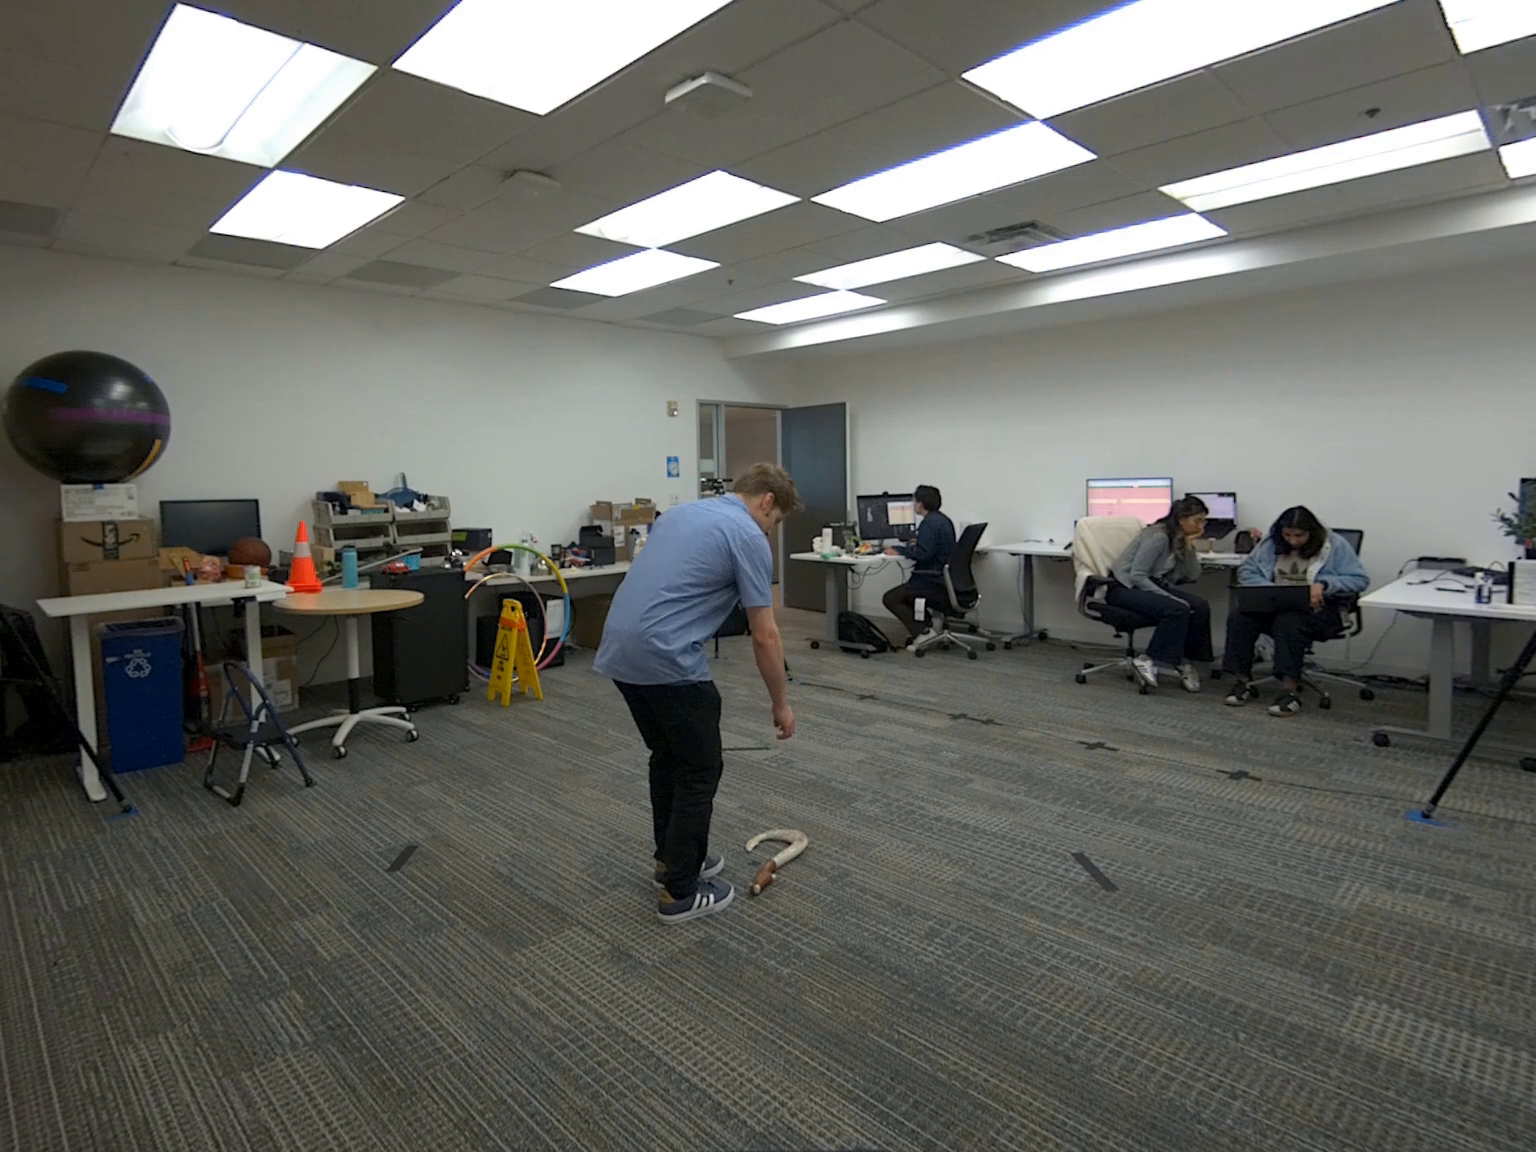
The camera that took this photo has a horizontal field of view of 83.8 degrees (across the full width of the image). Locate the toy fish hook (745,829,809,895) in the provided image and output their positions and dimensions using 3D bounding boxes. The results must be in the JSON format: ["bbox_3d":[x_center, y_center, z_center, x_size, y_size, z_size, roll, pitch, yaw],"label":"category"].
[{"bbox_3d":[-0.009,1.031,3.102,0.229,0.048,0.498,-7,3,22],"label":"toy fish hook"}]
